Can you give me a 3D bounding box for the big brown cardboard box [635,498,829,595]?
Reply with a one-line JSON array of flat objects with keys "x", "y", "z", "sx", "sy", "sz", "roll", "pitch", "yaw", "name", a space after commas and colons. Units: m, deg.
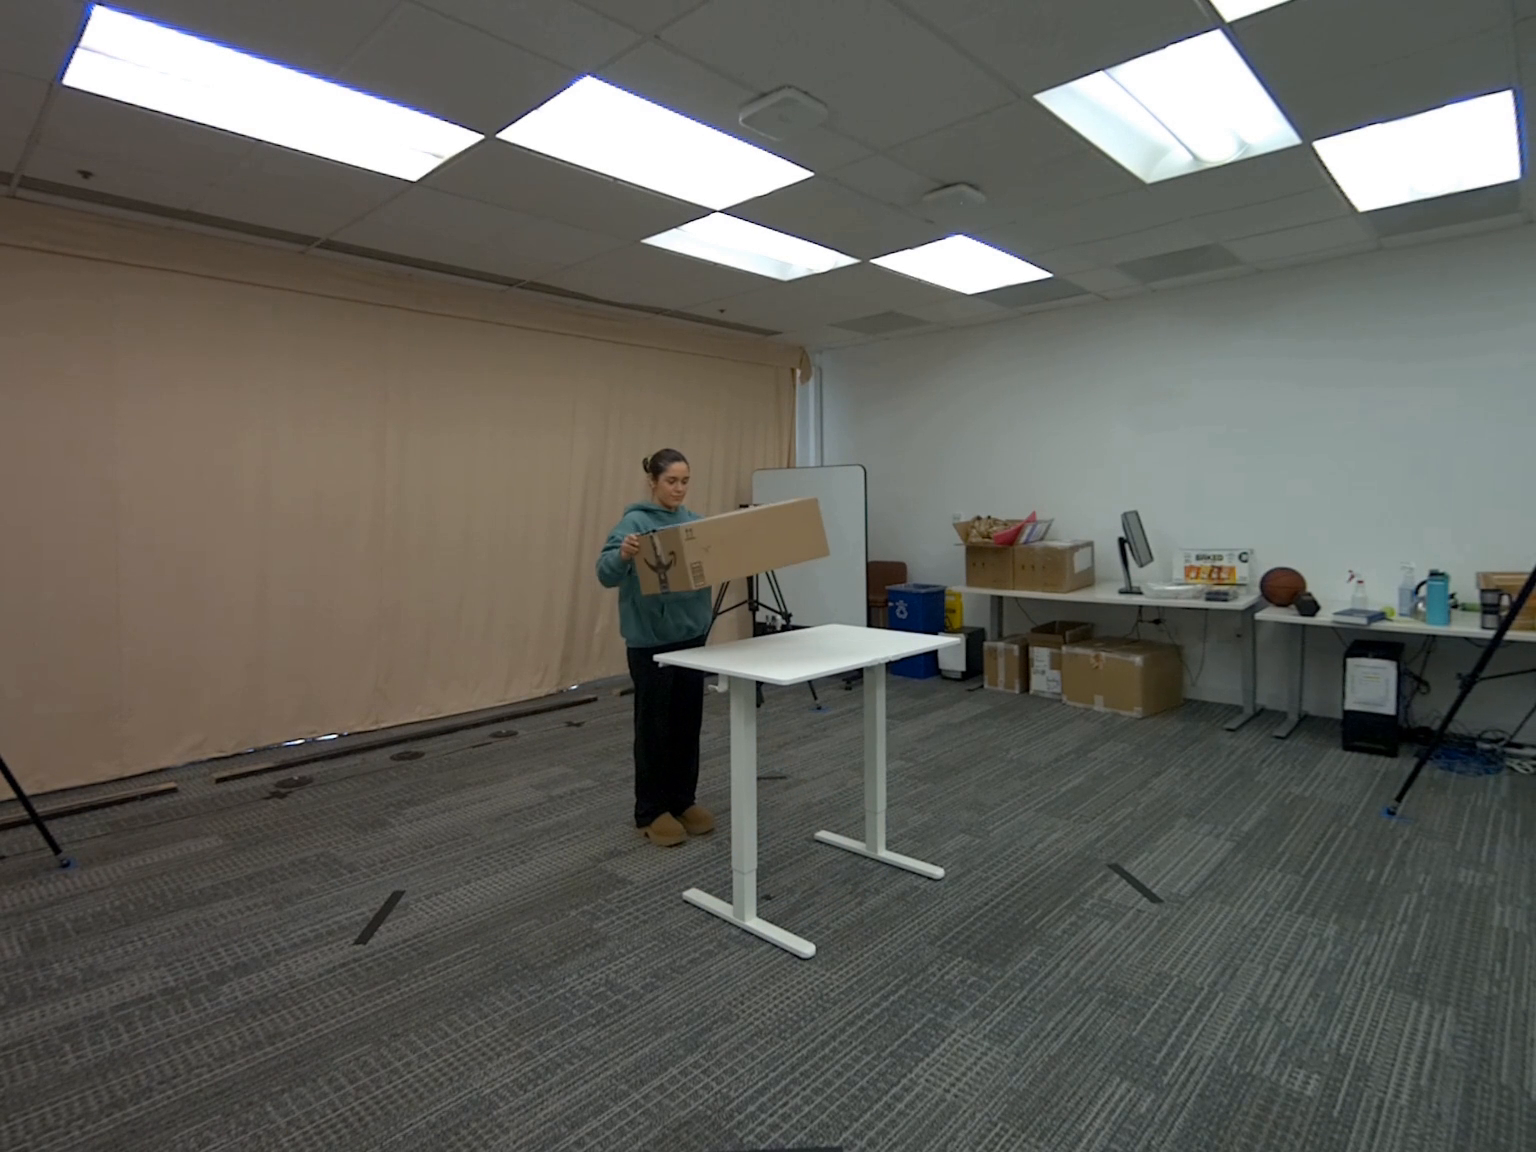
[{"x": -0.140, "y": -0.104, "z": 3.023, "sx": 0.576, "sy": 0.232, "sz": 0.428, "roll": -16, "pitch": 4, "yaw": -30, "name": "big brown cardboard box"}]
